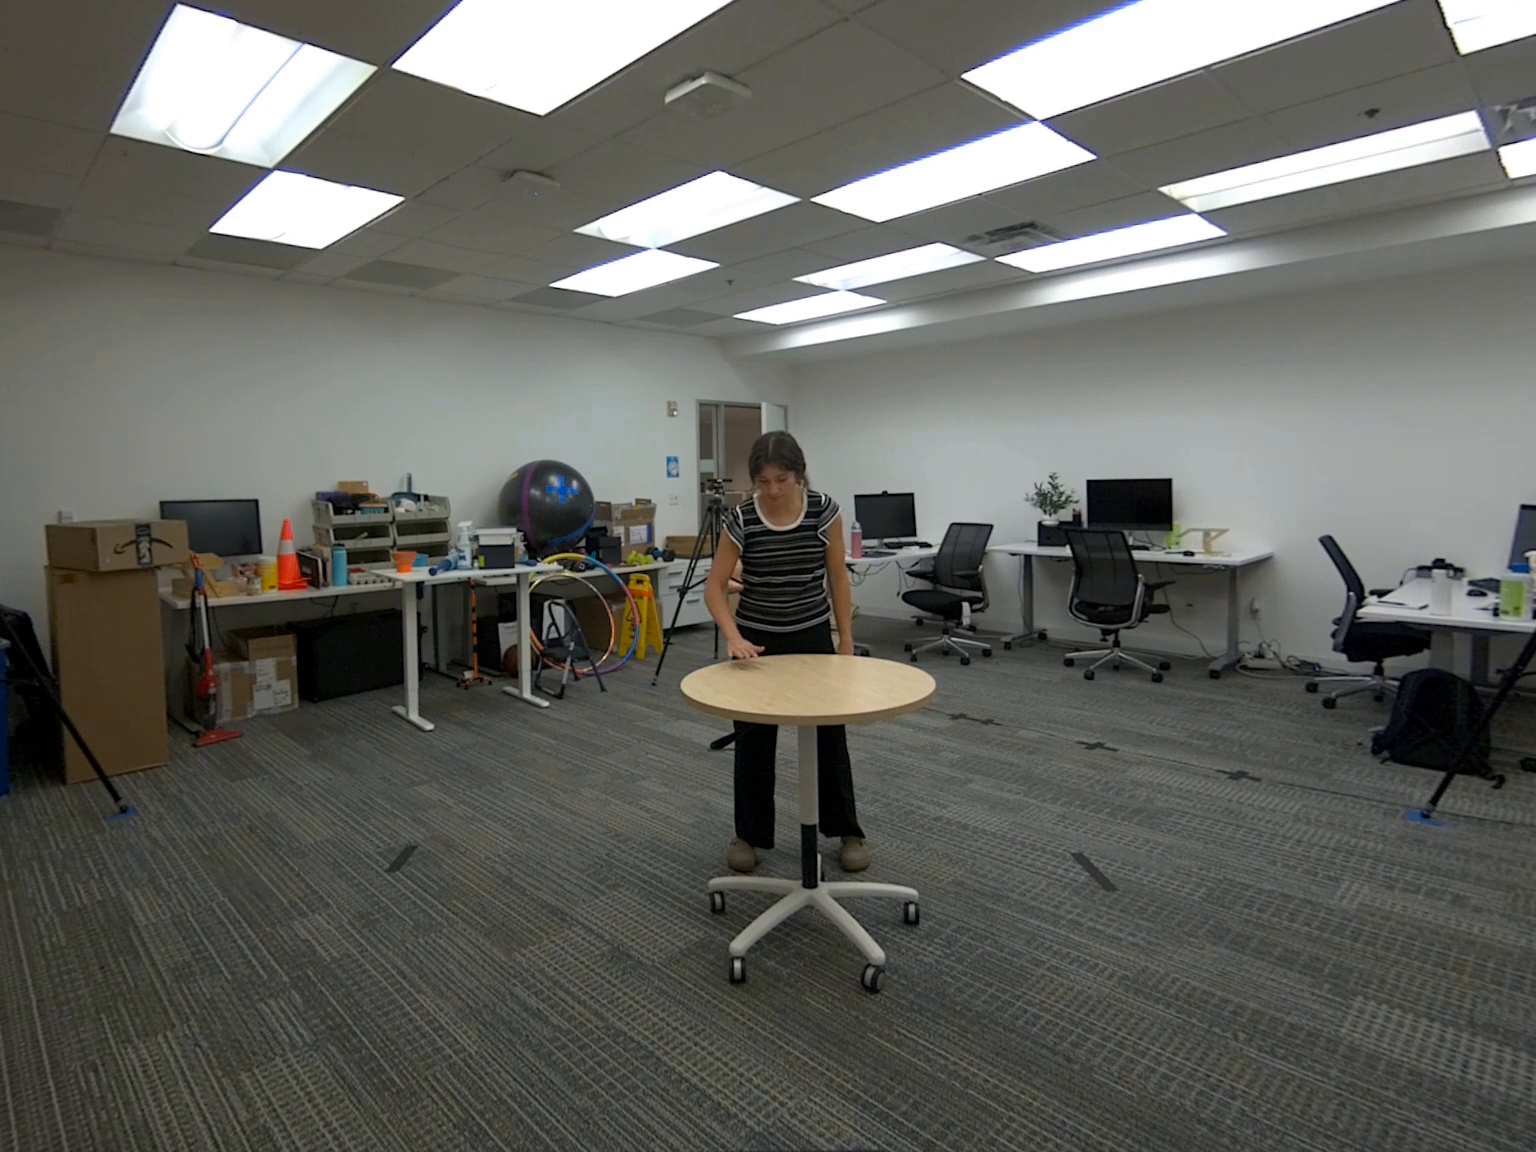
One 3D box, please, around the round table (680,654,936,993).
[{"bbox_3d":[0.130,0.713,2.616,0.763,0.791,0.768,-2,5,-2],"label":"round table"}]
